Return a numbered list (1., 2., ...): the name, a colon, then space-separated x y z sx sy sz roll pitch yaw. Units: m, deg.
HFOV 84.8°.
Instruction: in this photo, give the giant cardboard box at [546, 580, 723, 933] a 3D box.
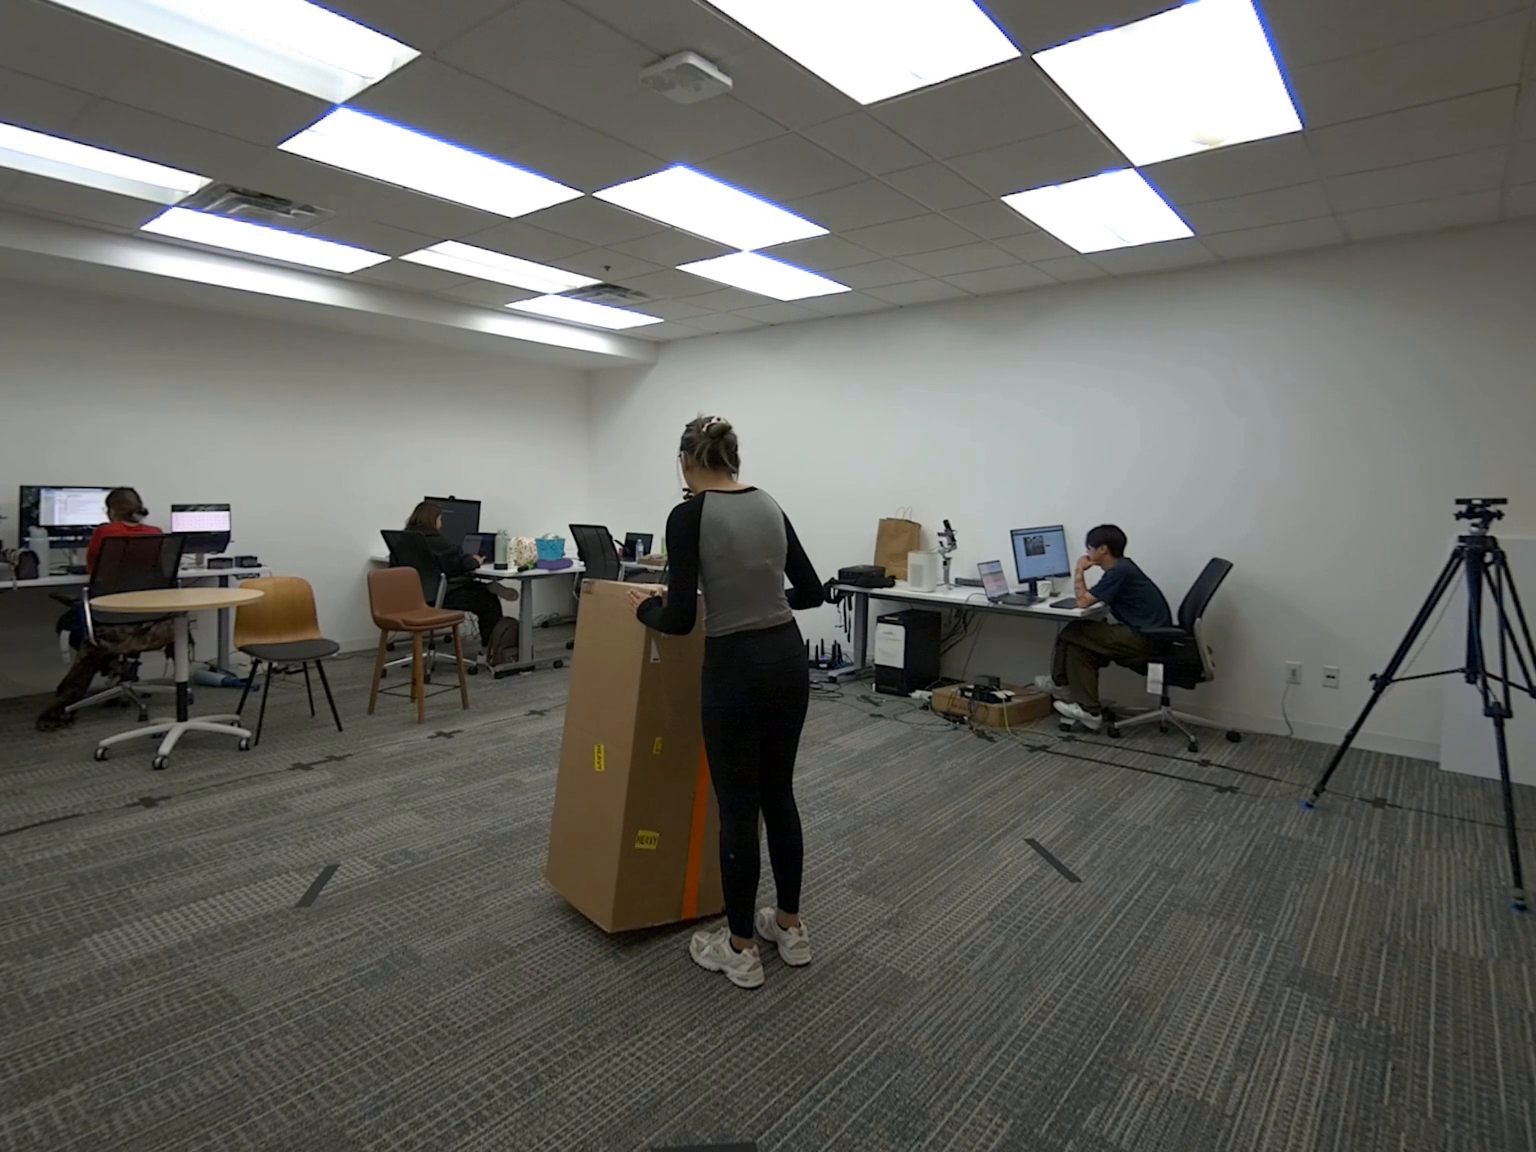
1. giant cardboard box: -0.347 0.557 2.858 0.564 1.029 0.462 8 -3 -41
